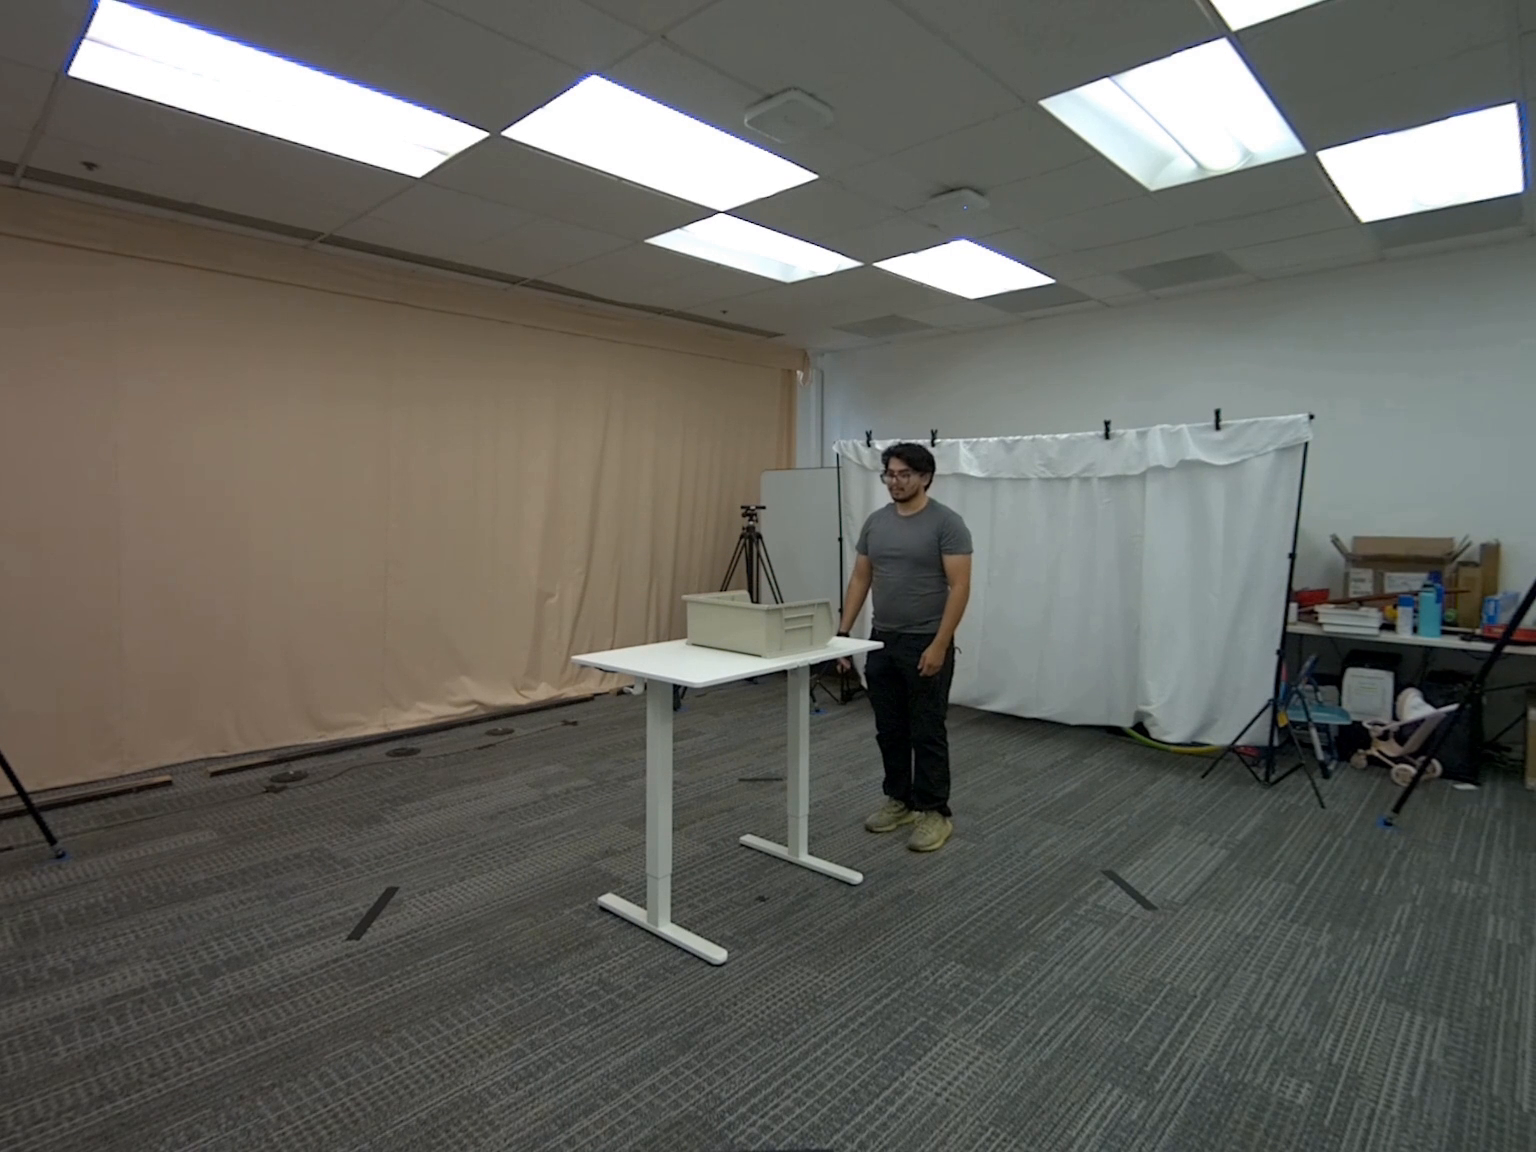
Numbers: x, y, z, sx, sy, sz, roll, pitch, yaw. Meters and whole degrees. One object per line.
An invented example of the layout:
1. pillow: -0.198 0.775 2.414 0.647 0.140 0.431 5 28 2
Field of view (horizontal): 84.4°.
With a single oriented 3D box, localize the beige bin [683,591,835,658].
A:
1. beige bin: -0.031 0.168 3.068 0.436 0.188 0.366 5 8 43
